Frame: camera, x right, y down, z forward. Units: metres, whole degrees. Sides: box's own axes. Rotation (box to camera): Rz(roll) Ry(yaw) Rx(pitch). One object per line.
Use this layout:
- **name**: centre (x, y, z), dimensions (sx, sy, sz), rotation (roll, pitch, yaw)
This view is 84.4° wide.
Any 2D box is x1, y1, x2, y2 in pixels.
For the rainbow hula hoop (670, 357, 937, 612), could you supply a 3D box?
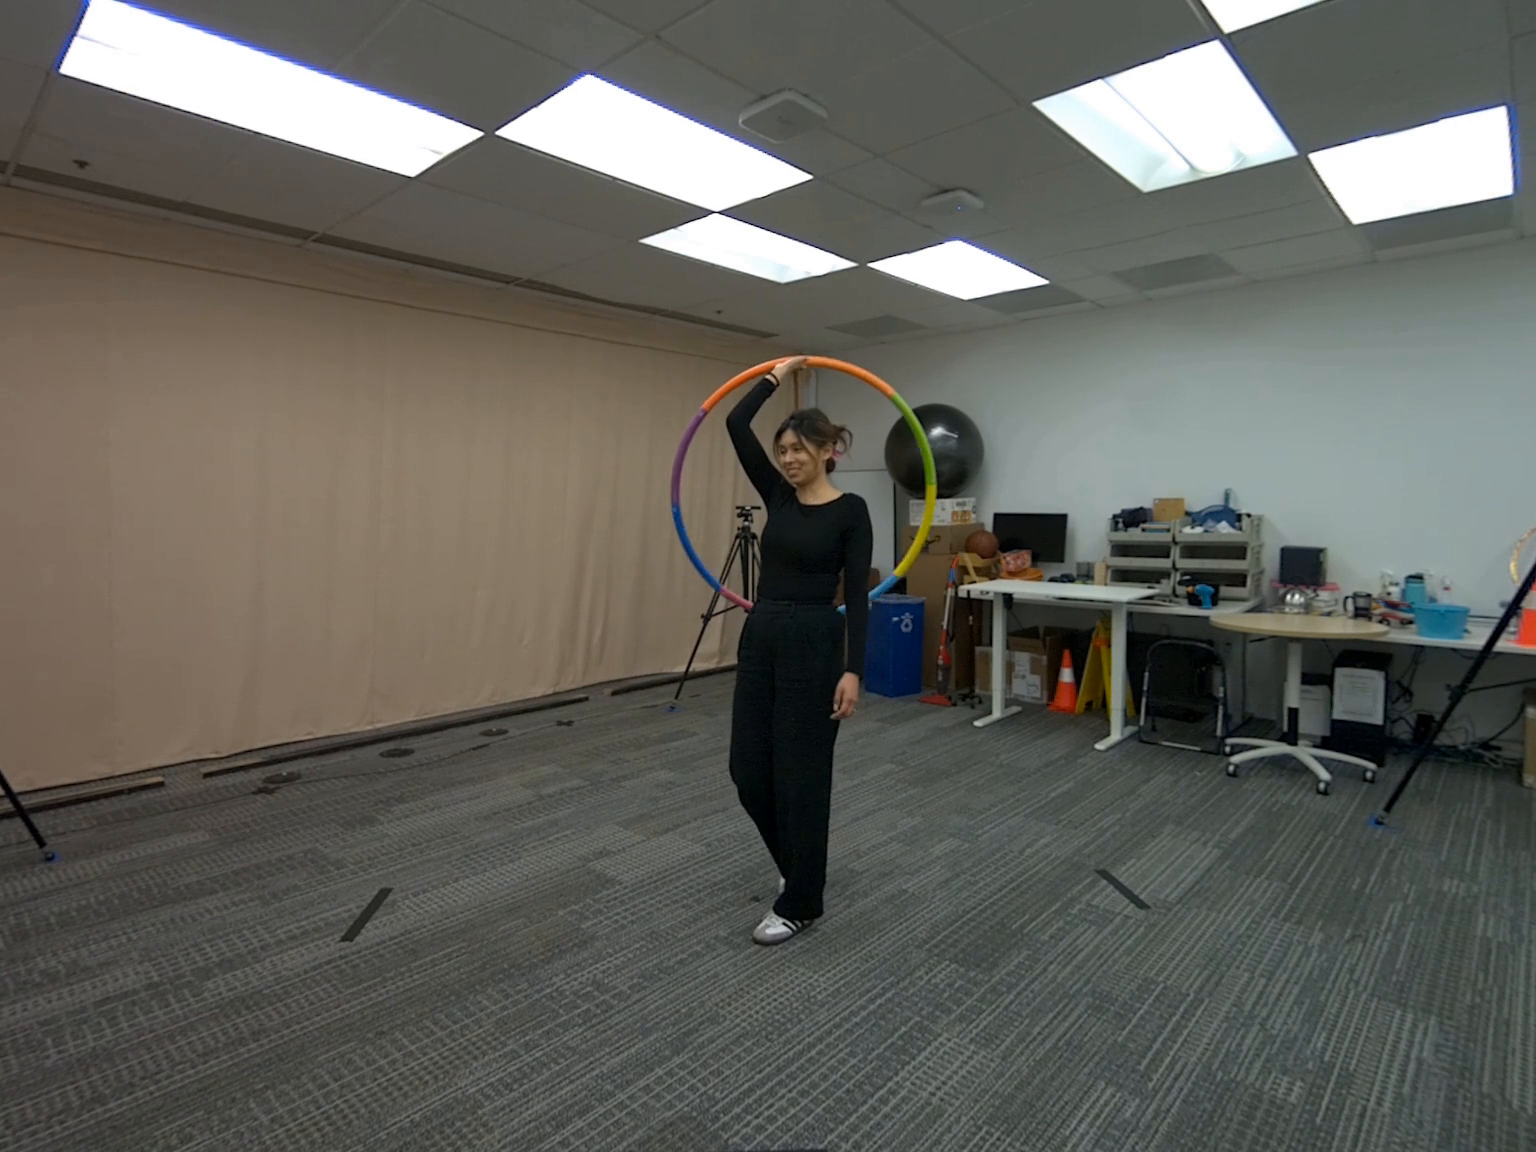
- **rainbow hula hoop**: centre (0.130, -0.305, 3.106), dimensions (0.986, 0.977, 0.052), rotation (0, 13, 1)
